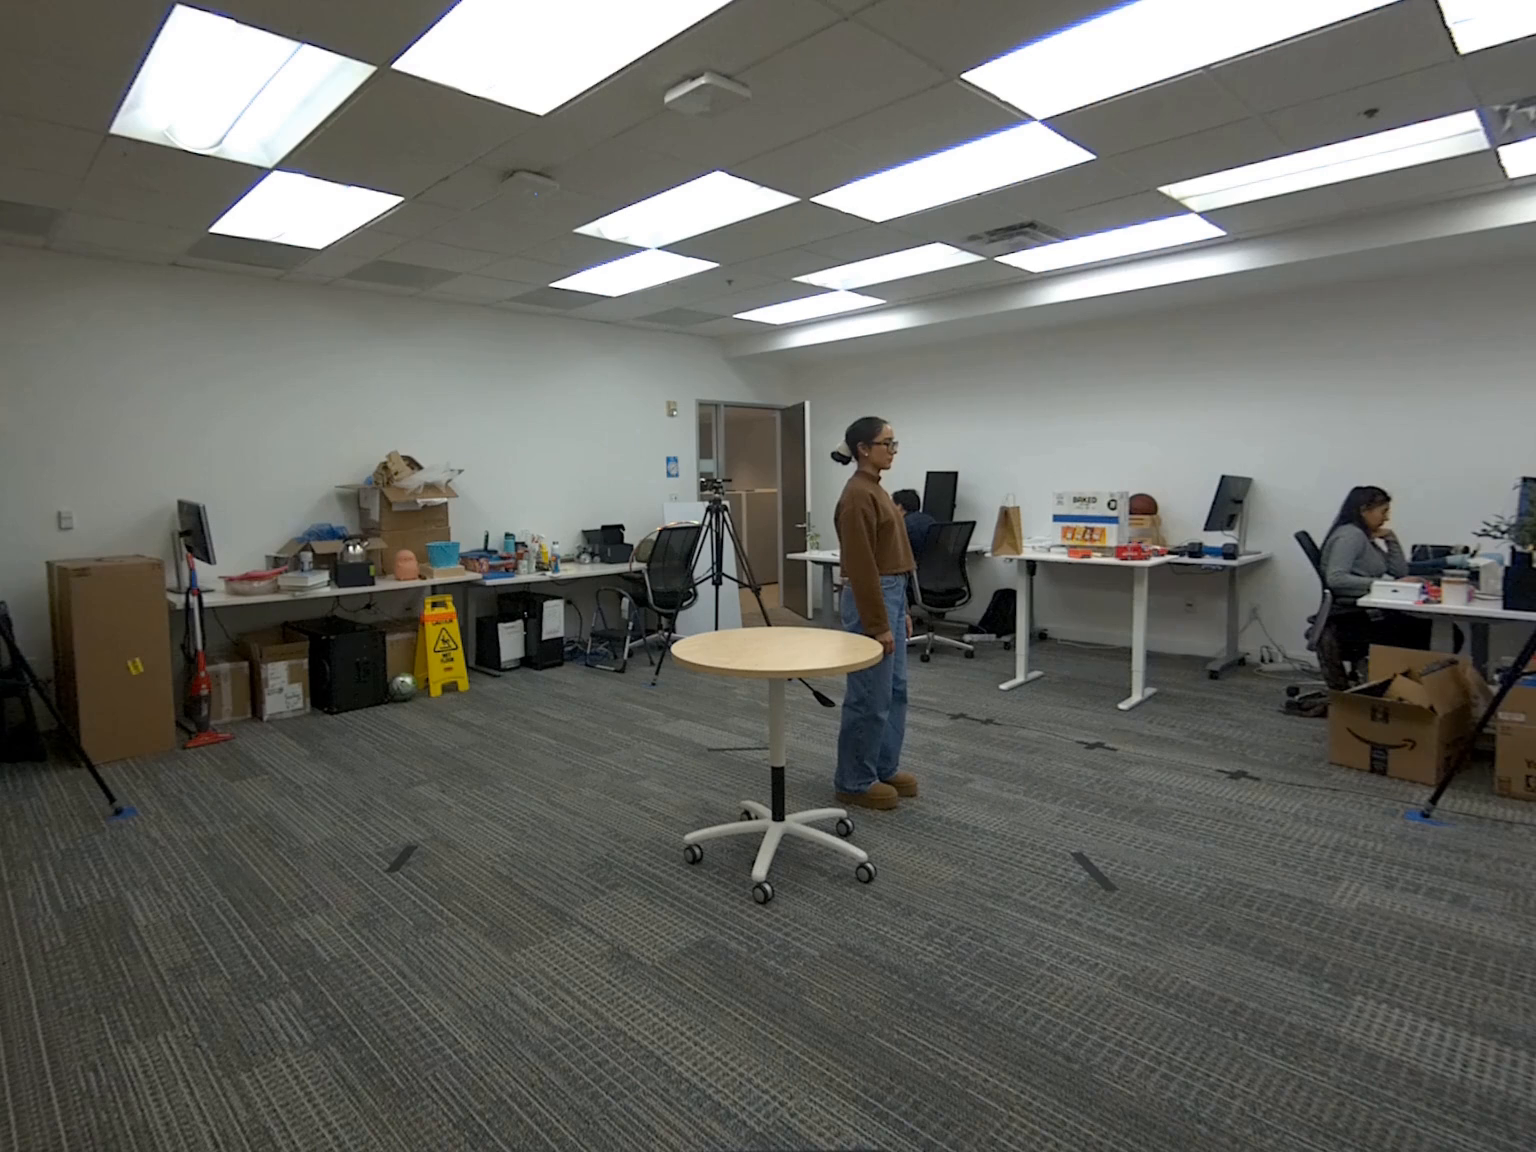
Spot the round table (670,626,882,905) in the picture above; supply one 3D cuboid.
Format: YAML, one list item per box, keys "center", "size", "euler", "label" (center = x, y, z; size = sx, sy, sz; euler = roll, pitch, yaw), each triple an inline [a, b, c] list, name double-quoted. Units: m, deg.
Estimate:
- center: [0.036, 0.648, 3.134]
  size: [0.763, 0.791, 0.768]
  euler: [-1, 5, -2]
  label: "round table"
